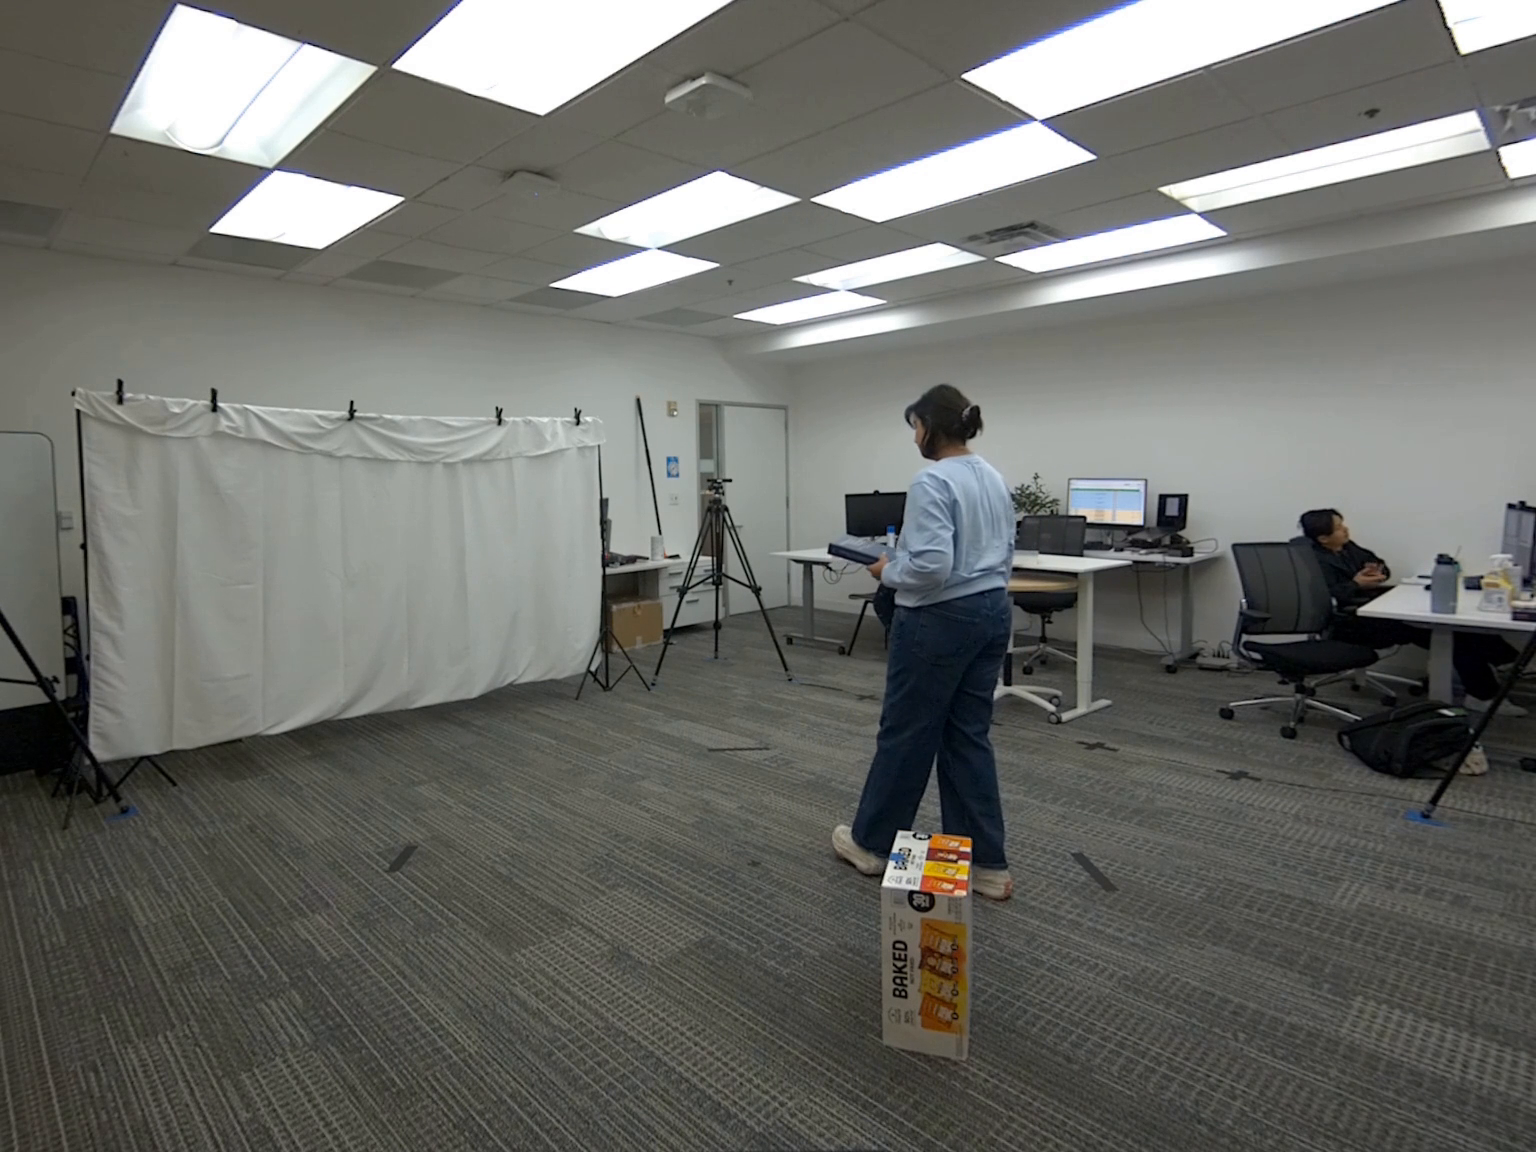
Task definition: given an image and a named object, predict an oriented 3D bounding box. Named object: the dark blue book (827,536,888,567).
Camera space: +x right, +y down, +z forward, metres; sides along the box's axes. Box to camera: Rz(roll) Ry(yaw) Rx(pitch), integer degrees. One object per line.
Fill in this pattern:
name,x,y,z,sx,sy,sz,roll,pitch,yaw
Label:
dark blue book,0.358,-0.087,3.074,0.251,0.044,0.161,15,19,23
